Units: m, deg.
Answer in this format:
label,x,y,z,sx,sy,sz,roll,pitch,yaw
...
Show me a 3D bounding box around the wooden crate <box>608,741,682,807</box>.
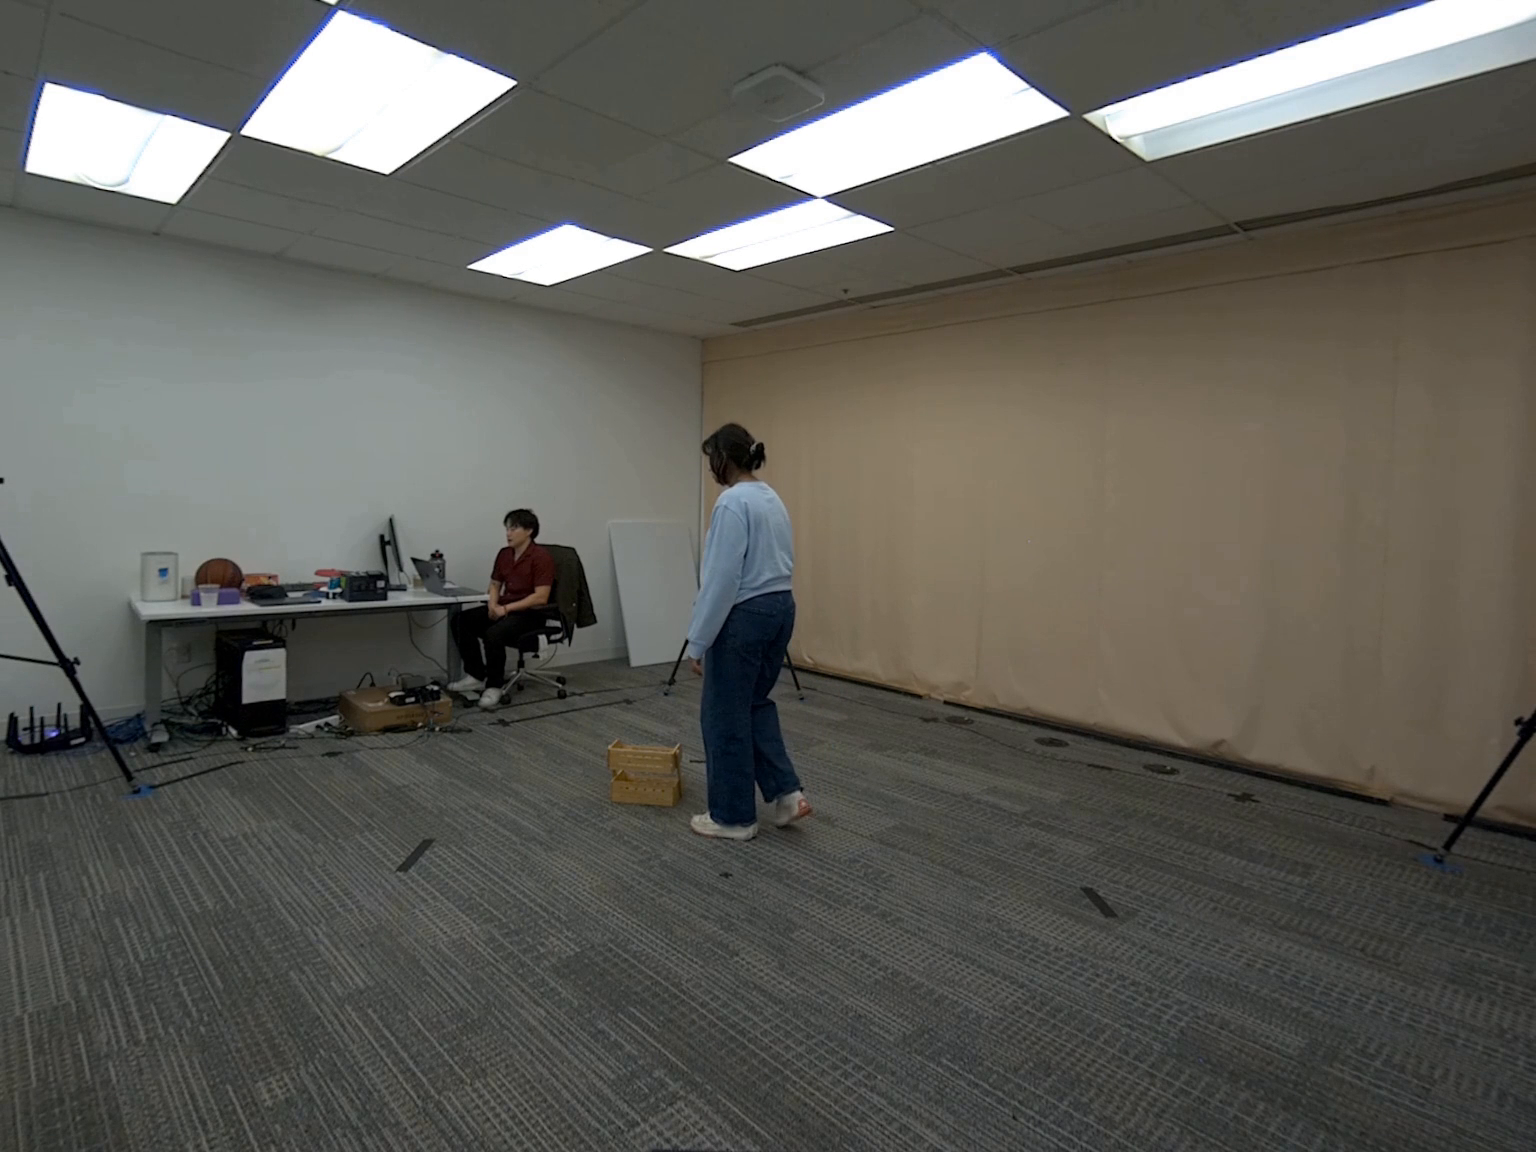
label,x,y,z,sx,sy,sz,roll,pitch,yaw
wooden crate,-0.569,0.892,3.911,0.327,0.272,0.301,2,5,7
